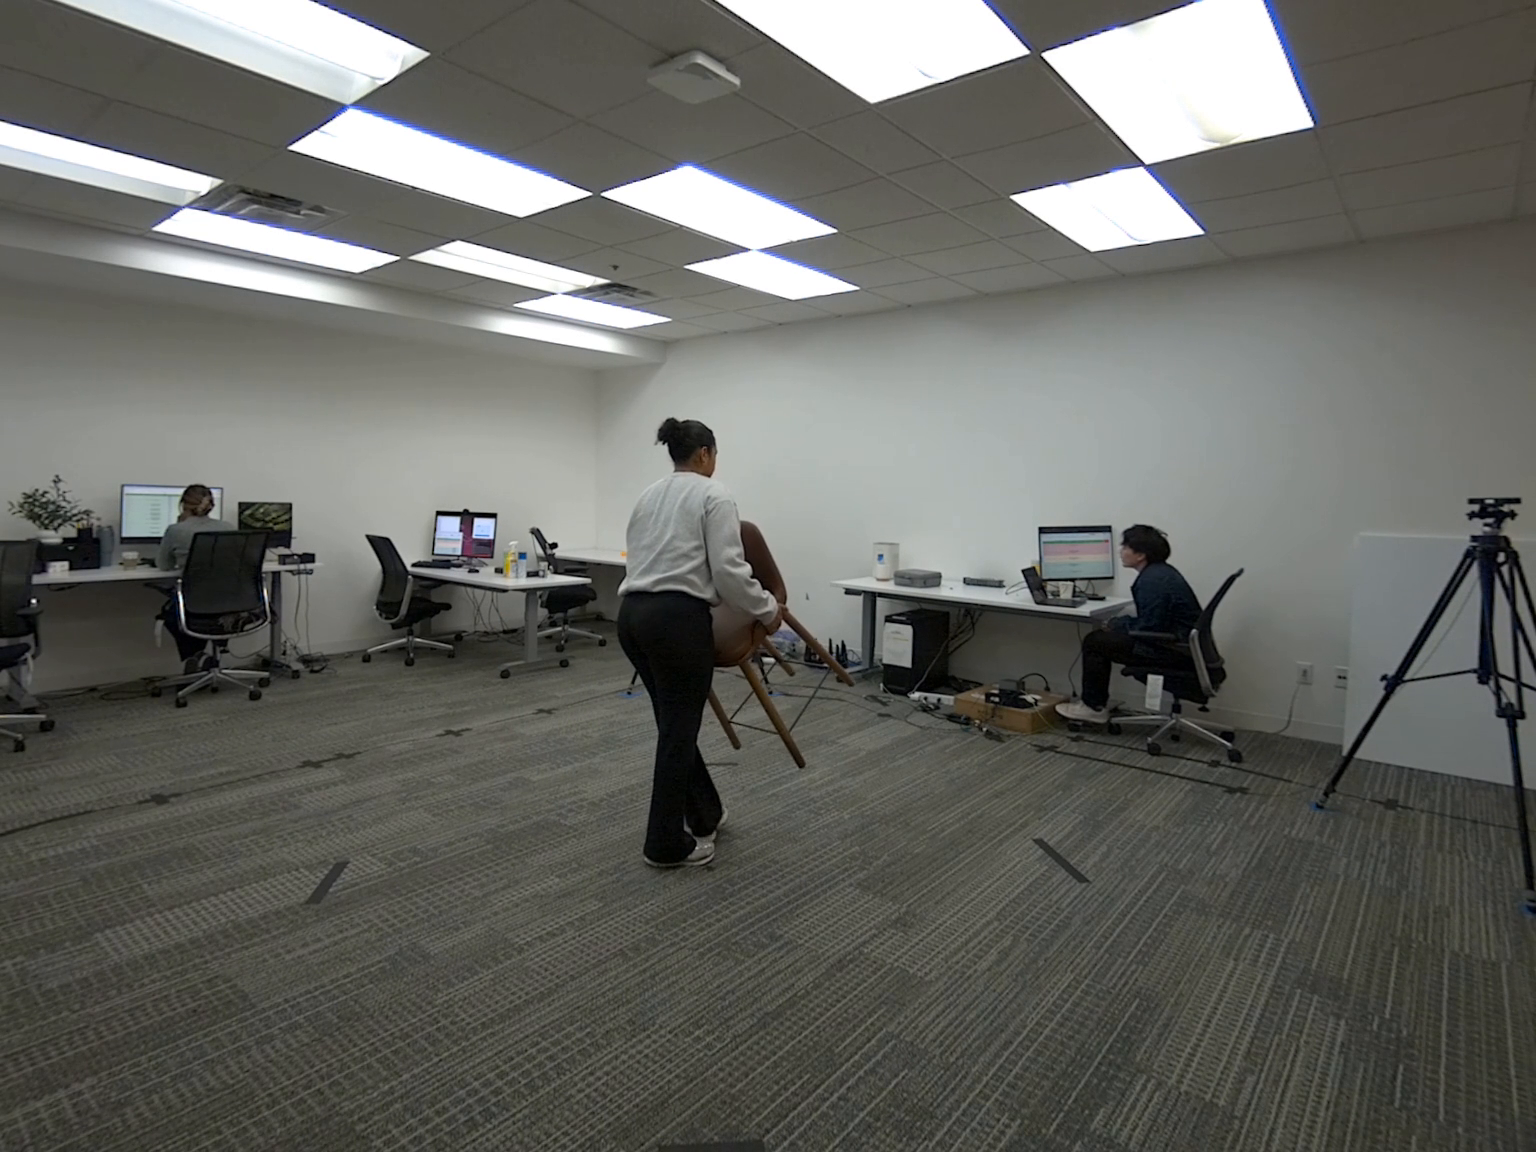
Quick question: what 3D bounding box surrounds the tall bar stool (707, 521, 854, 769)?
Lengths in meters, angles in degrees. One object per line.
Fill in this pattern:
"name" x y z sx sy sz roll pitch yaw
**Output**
"tall bar stool" -0.091 0.274 3.404 0.471 0.863 0.467 1 39 48
